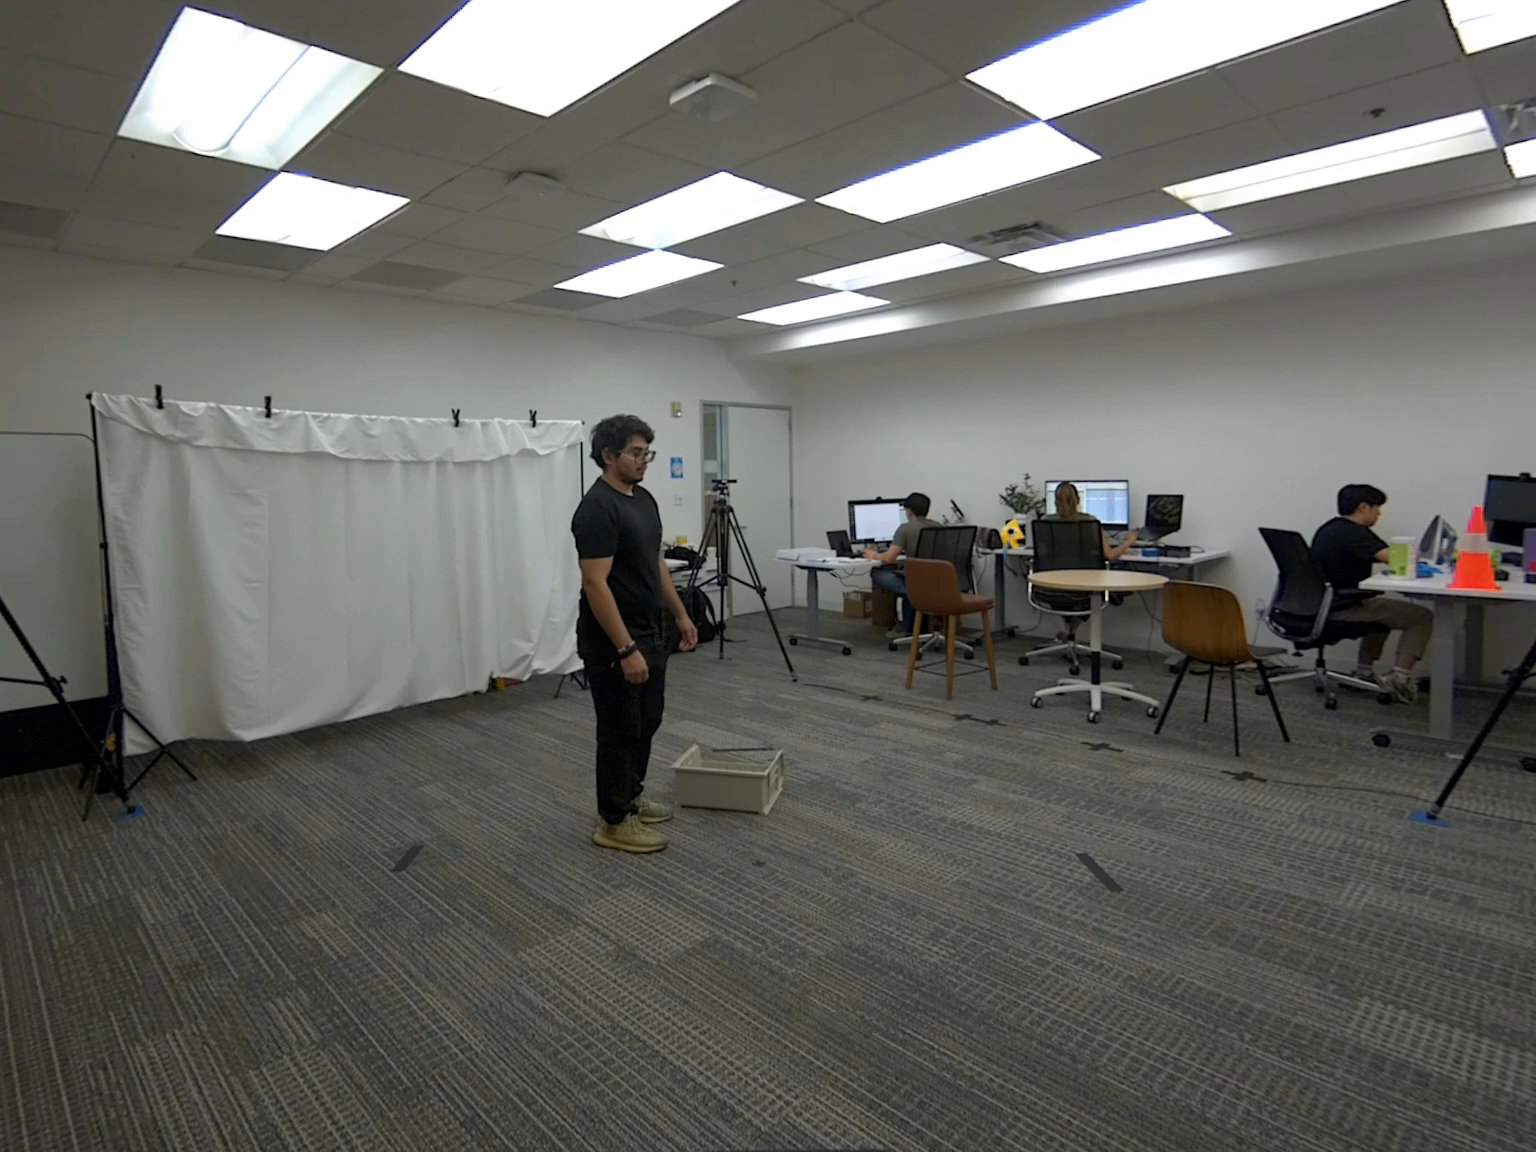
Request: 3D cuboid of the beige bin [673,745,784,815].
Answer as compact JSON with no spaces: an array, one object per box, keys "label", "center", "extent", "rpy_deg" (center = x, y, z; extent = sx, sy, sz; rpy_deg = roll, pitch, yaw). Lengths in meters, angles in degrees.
[{"label":"beige bin","center":[-0.169,0.888,3.783],"extent":[0.429,0.188,0.374],"rpy_deg":[1,7,15]}]
